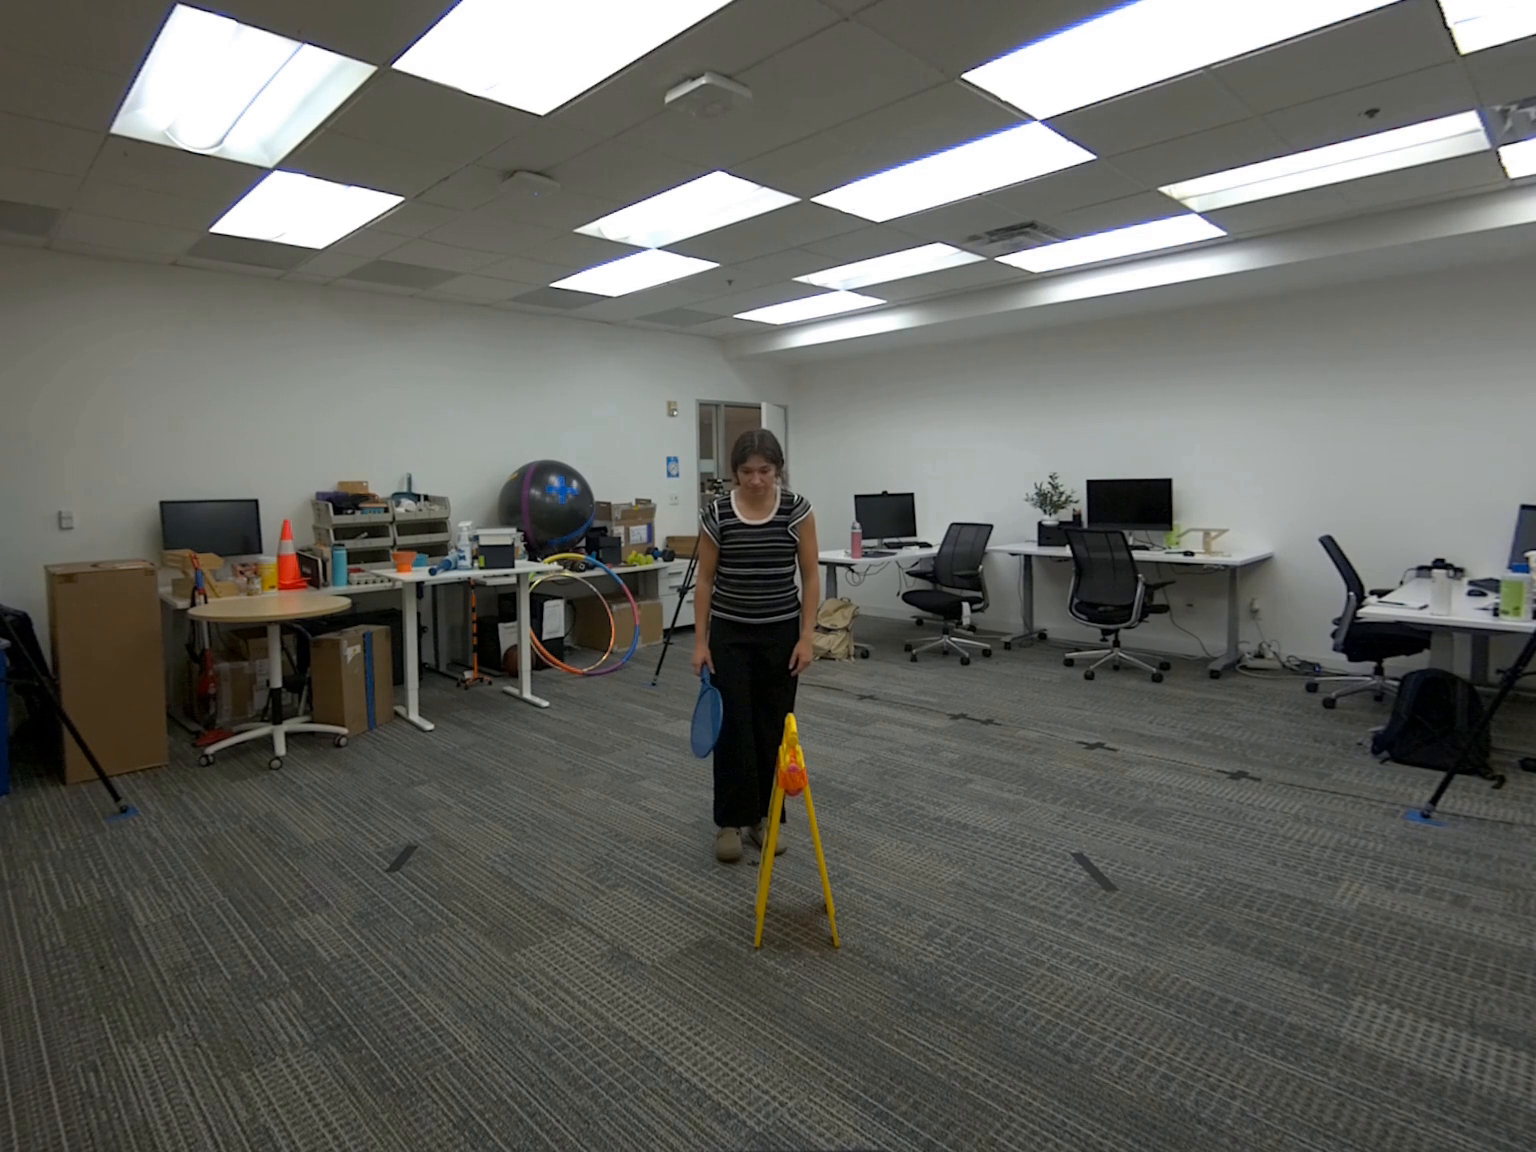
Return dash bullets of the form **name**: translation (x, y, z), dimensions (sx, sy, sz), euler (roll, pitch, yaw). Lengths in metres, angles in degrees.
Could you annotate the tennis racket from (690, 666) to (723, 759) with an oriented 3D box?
- **tennis racket**: translation (-0.221, 0.453, 3.078), dimensions (0.031, 0.213, 0.446), euler (20, 39, -24)
